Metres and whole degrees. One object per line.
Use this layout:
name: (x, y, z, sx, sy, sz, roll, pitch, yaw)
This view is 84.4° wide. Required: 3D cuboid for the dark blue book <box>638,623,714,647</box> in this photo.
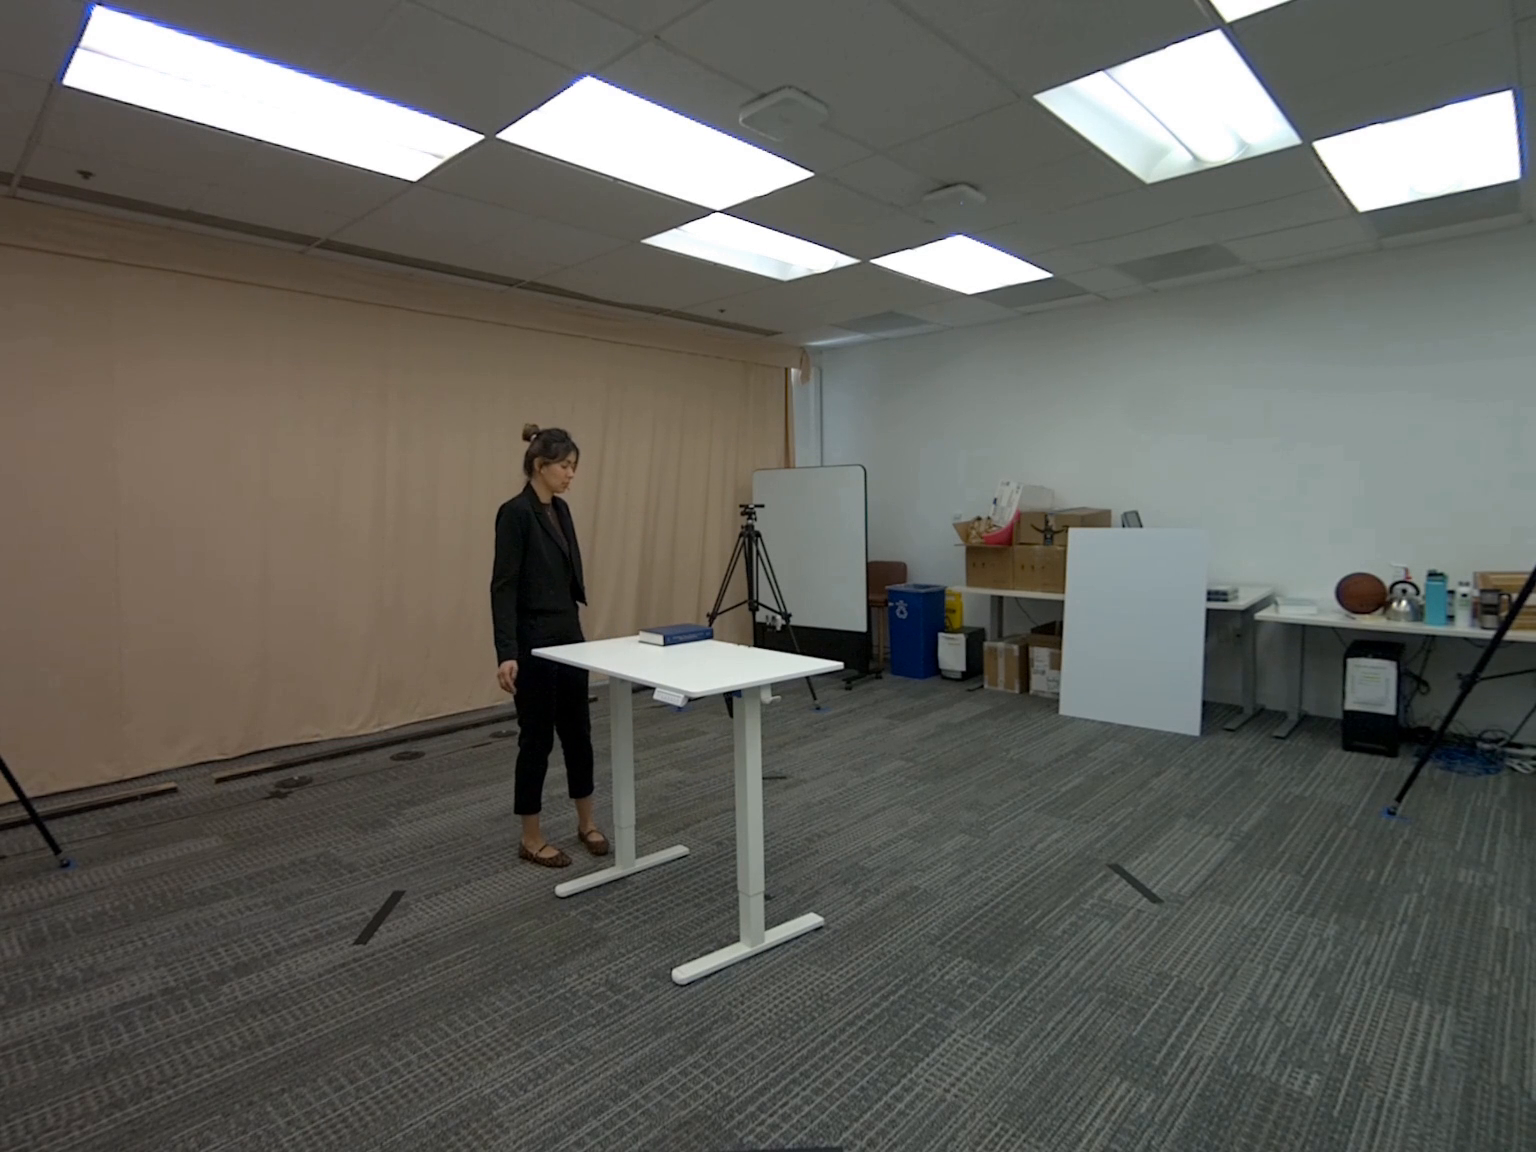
dark blue book: (-0.347, 0.224, 3.216, 0.238, 0.045, 0.169, -5, 6, -42)
